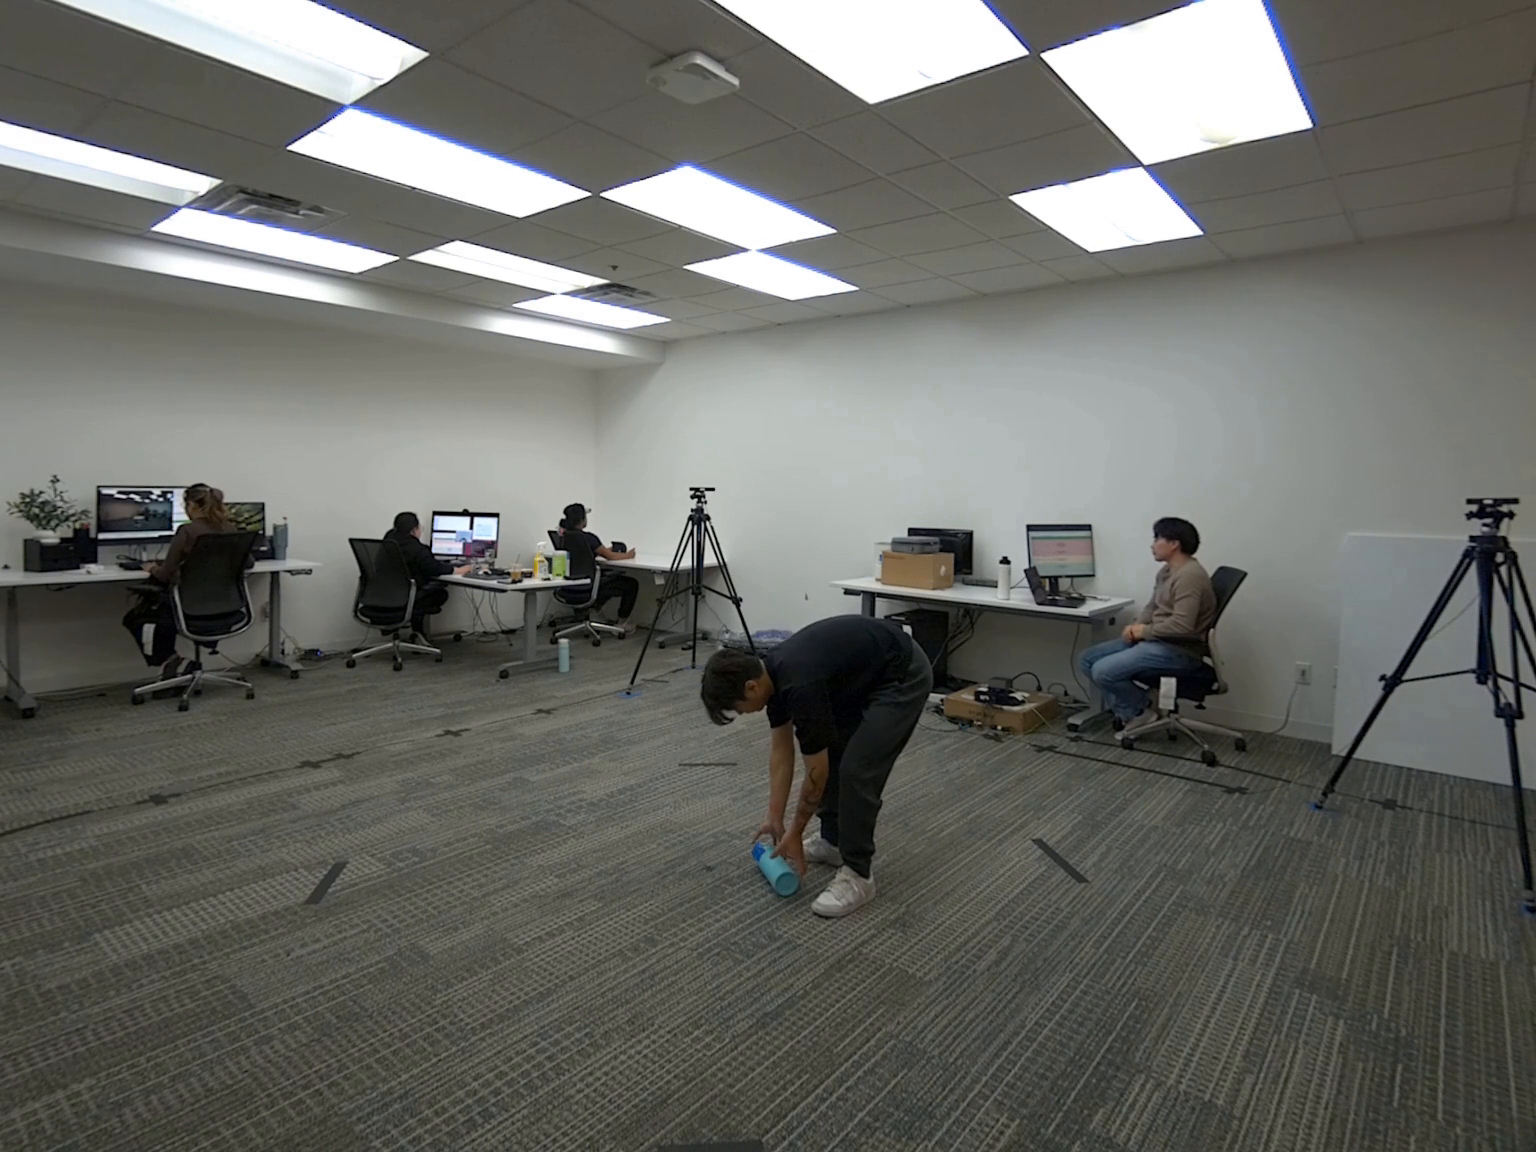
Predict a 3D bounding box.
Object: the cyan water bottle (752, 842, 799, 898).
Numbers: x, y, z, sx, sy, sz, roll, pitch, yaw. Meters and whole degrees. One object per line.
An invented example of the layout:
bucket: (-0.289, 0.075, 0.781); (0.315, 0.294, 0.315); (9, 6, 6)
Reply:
cyan water bottle: (0.011, 1.033, 3.041); (0.091, 0.092, 0.289); (0, 6, -18)
